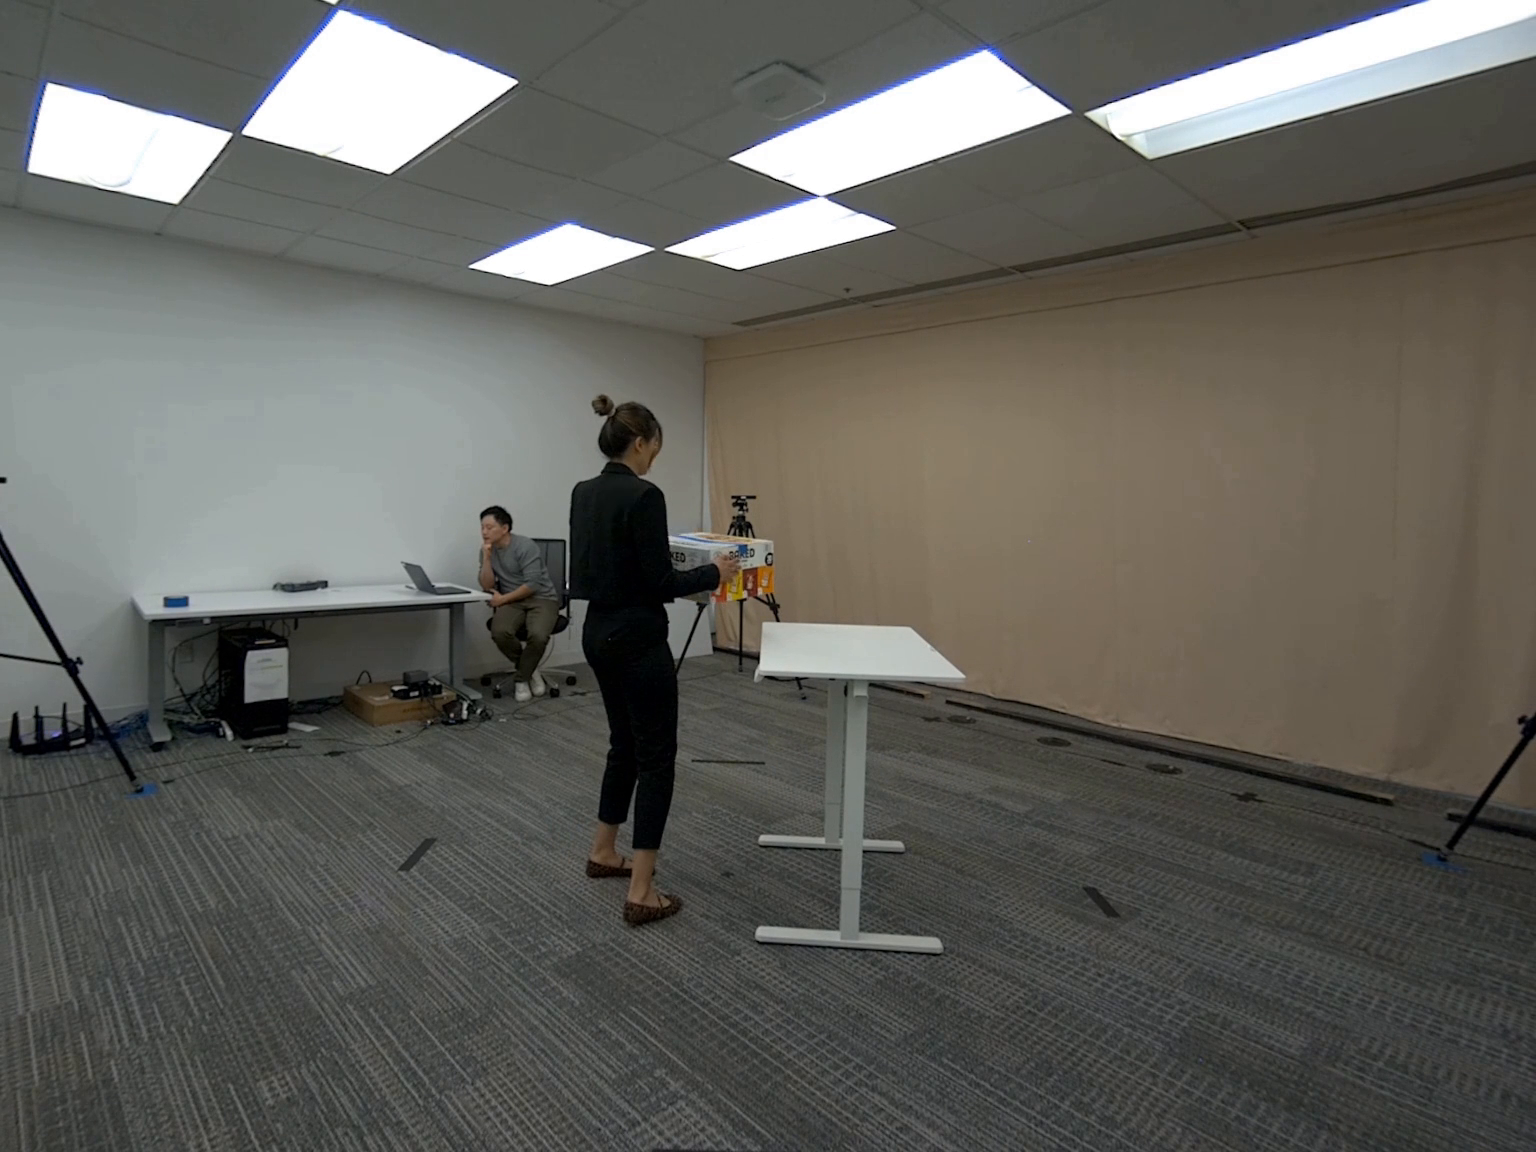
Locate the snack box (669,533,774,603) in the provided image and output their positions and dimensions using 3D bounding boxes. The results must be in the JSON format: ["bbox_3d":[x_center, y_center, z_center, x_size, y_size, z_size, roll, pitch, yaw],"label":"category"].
[{"bbox_3d":[-0.256,-0.038,3.243,0.416,0.204,0.333,8,11,43],"label":"snack box"}]
